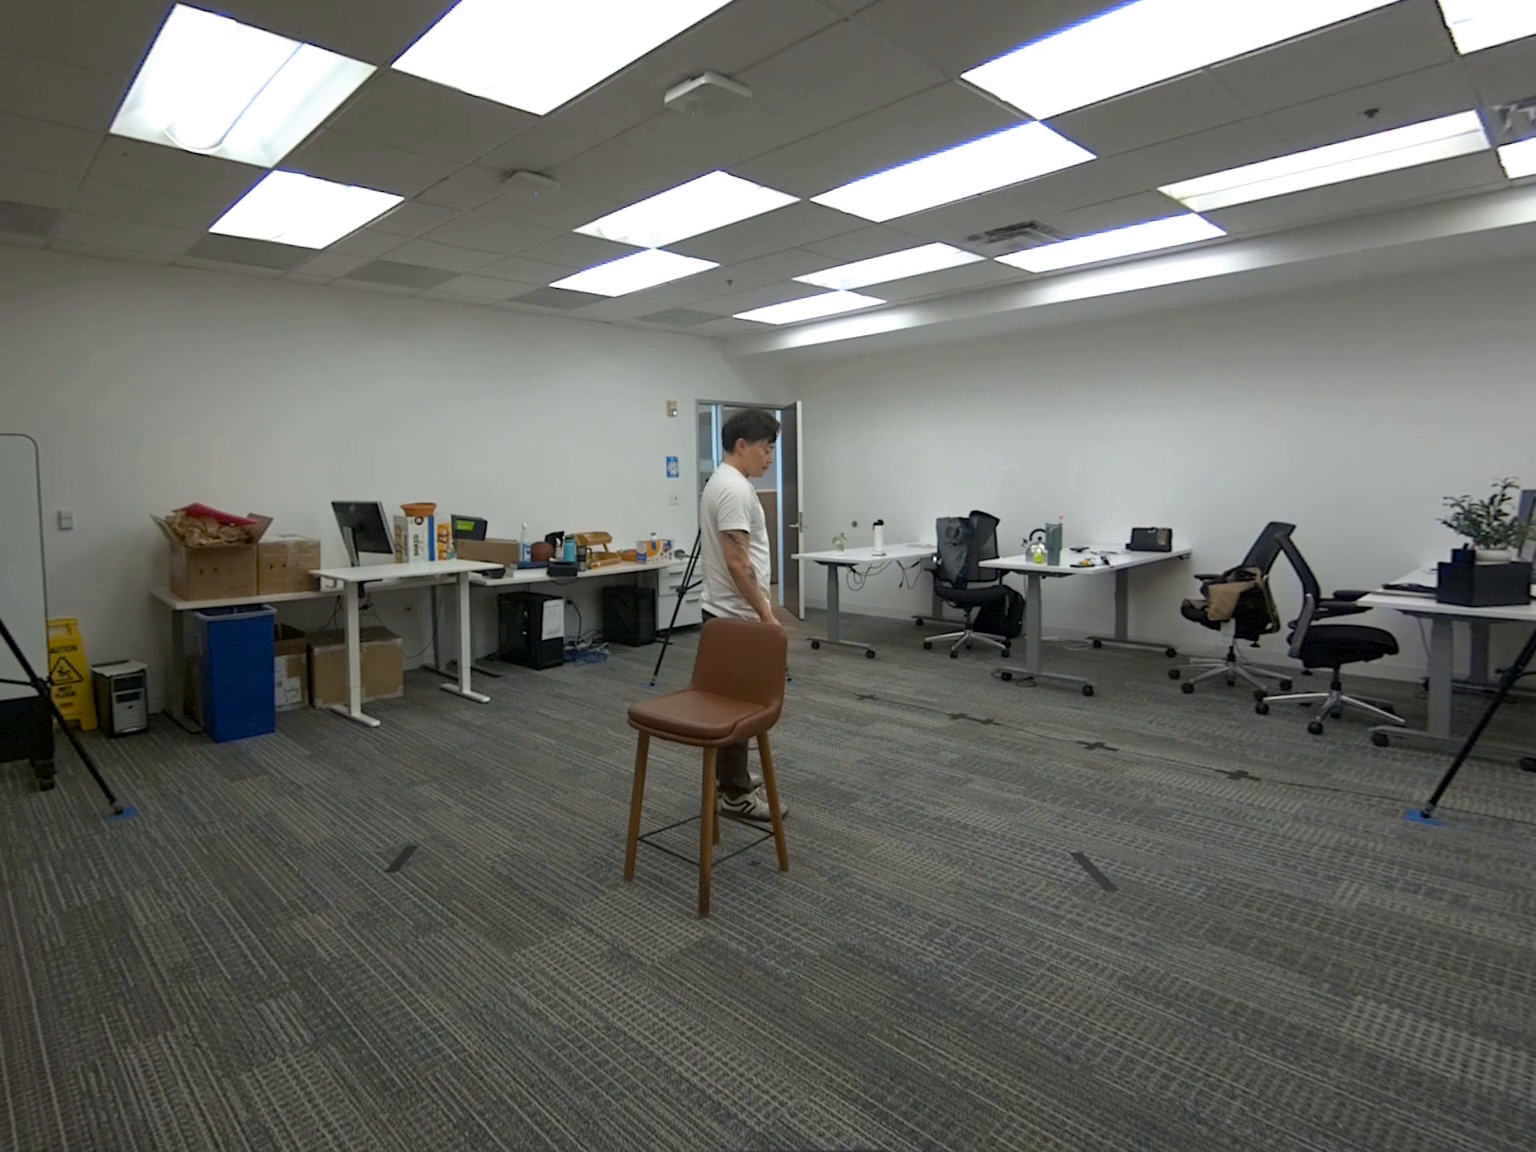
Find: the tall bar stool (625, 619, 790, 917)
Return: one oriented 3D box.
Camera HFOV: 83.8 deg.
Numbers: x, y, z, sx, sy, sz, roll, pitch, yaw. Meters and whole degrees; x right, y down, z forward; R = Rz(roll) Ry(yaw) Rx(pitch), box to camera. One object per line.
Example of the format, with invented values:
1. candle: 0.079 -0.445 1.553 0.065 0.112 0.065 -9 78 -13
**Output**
1. tall bar stool: -0.212 0.622 2.999 0.470 0.888 0.454 3 3 43
